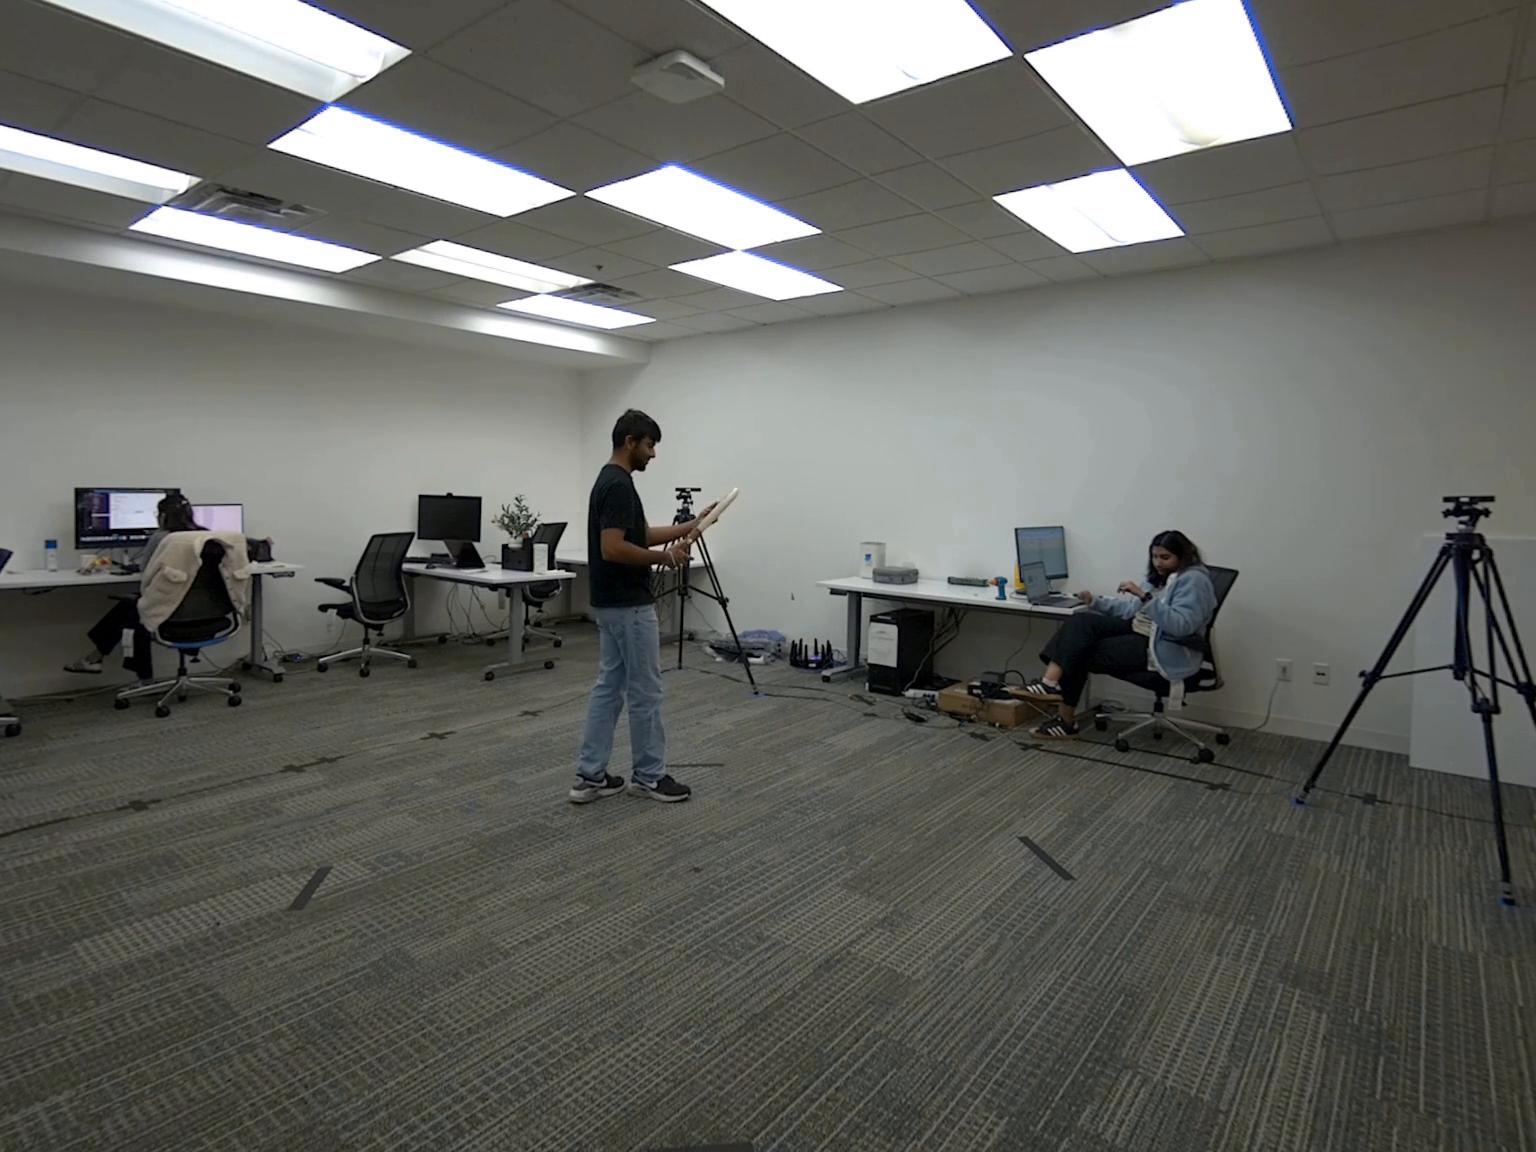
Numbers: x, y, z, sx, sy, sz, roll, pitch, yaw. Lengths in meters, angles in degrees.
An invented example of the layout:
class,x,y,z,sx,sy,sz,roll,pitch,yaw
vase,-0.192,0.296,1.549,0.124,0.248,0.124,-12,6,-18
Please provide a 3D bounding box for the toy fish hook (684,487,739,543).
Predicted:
class,x,y,z,sx,sy,sz,roll,pitch,yaw
toy fish hook,-0.321,-0.222,3.905,0.048,0.507,0.225,42,-25,-5
